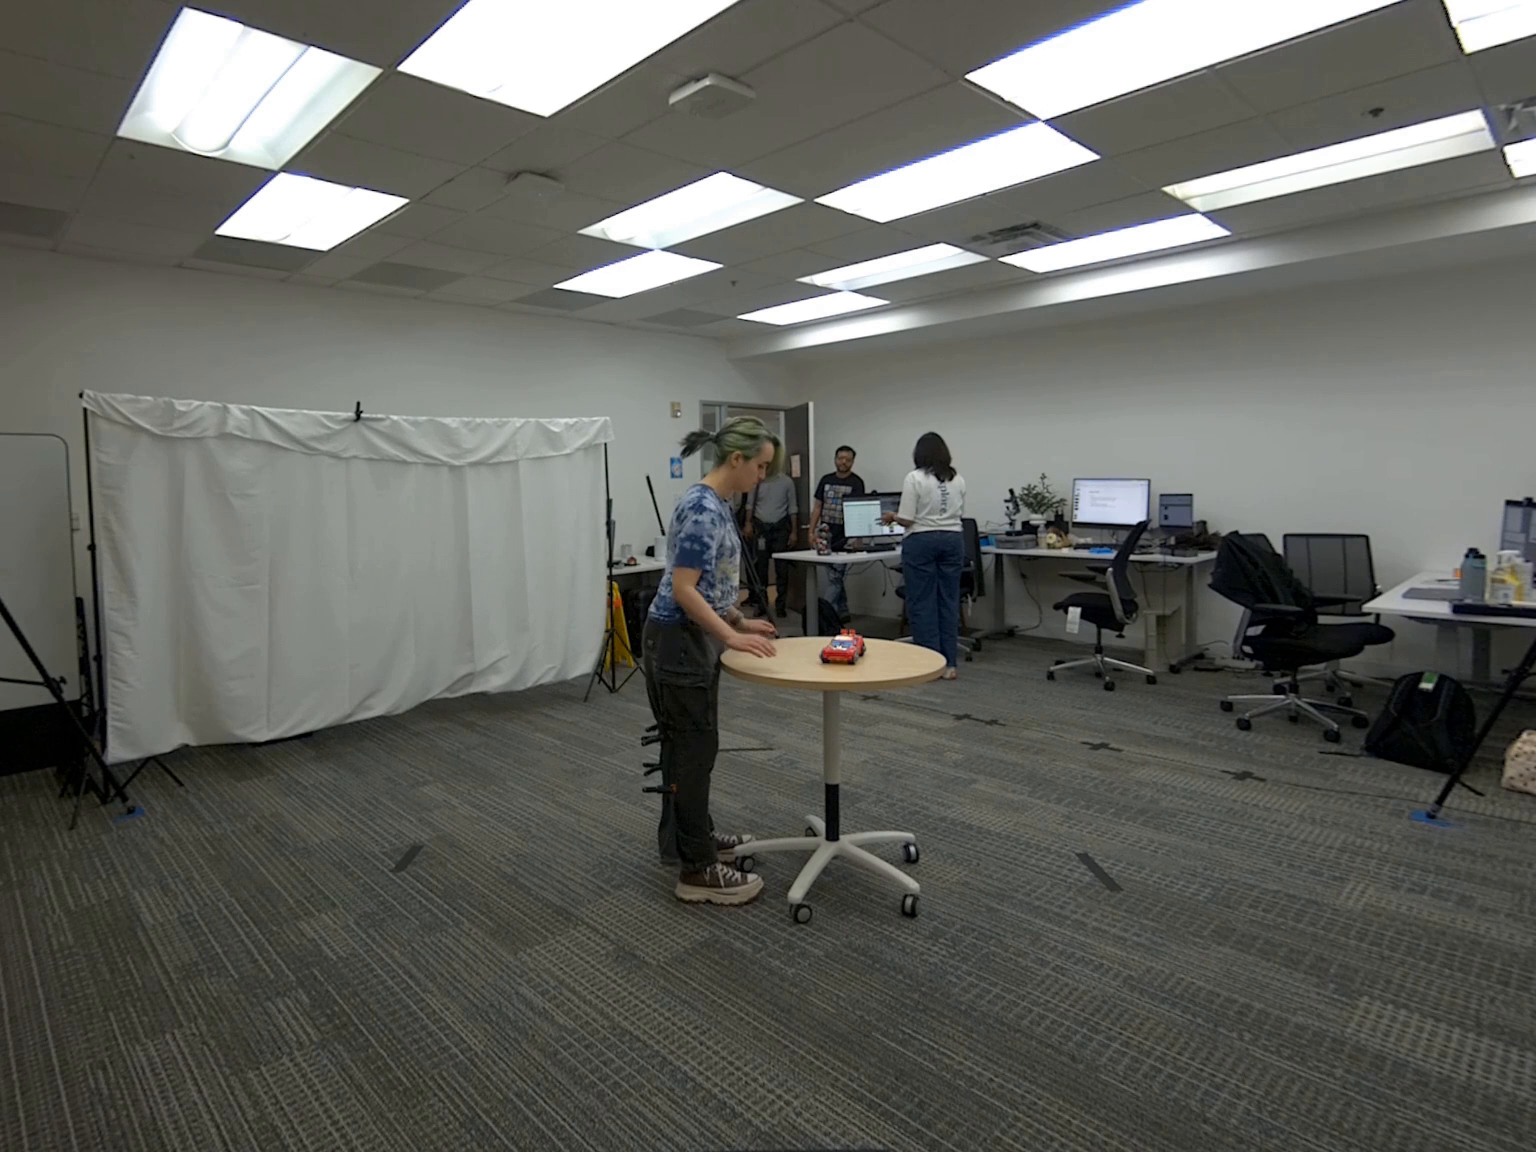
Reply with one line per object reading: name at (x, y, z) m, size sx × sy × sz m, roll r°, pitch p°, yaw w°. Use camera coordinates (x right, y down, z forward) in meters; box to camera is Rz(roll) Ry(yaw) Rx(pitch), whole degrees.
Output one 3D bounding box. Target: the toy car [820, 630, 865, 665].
toy car at (0.259, 0.247, 2.917) m, size 0.132 × 0.082 × 0.254 m, roll 1°, pitch 17°, yaw 18°
